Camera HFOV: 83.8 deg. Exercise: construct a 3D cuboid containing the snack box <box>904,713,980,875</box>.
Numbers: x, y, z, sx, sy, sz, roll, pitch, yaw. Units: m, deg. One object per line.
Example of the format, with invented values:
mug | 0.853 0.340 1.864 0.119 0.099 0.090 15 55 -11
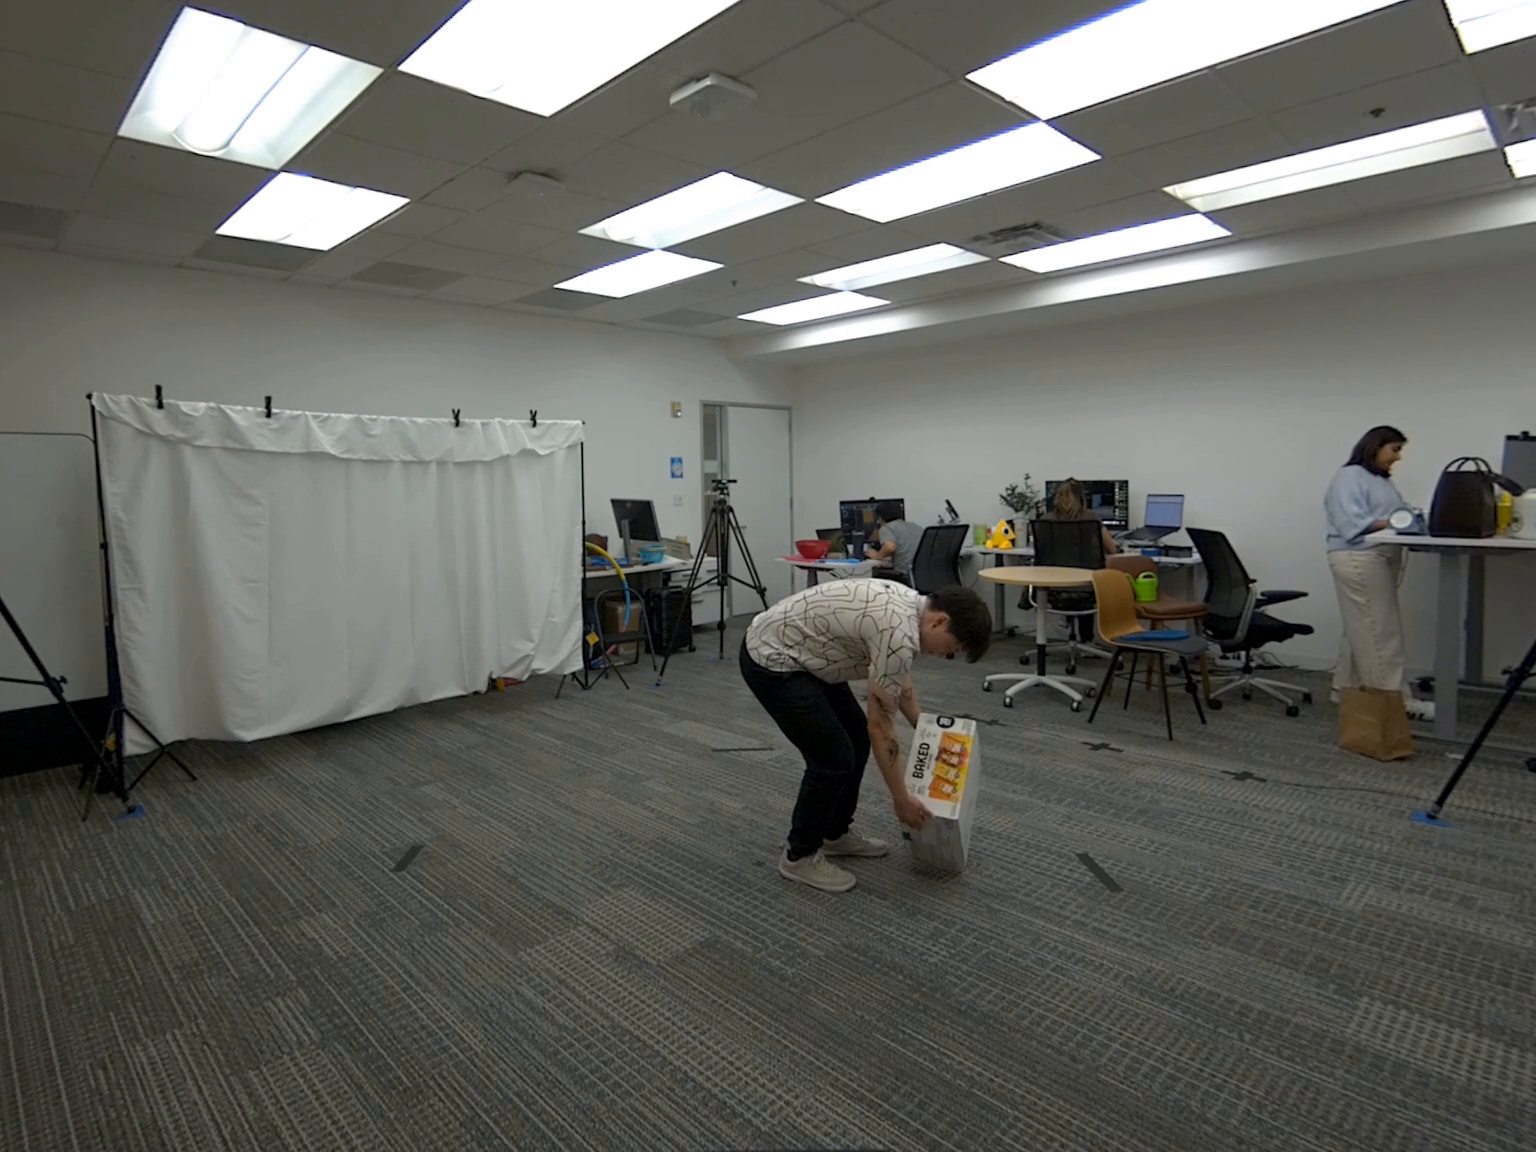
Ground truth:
snack box | 0.625 0.761 3.060 0.210 0.329 0.410 3 44 22
